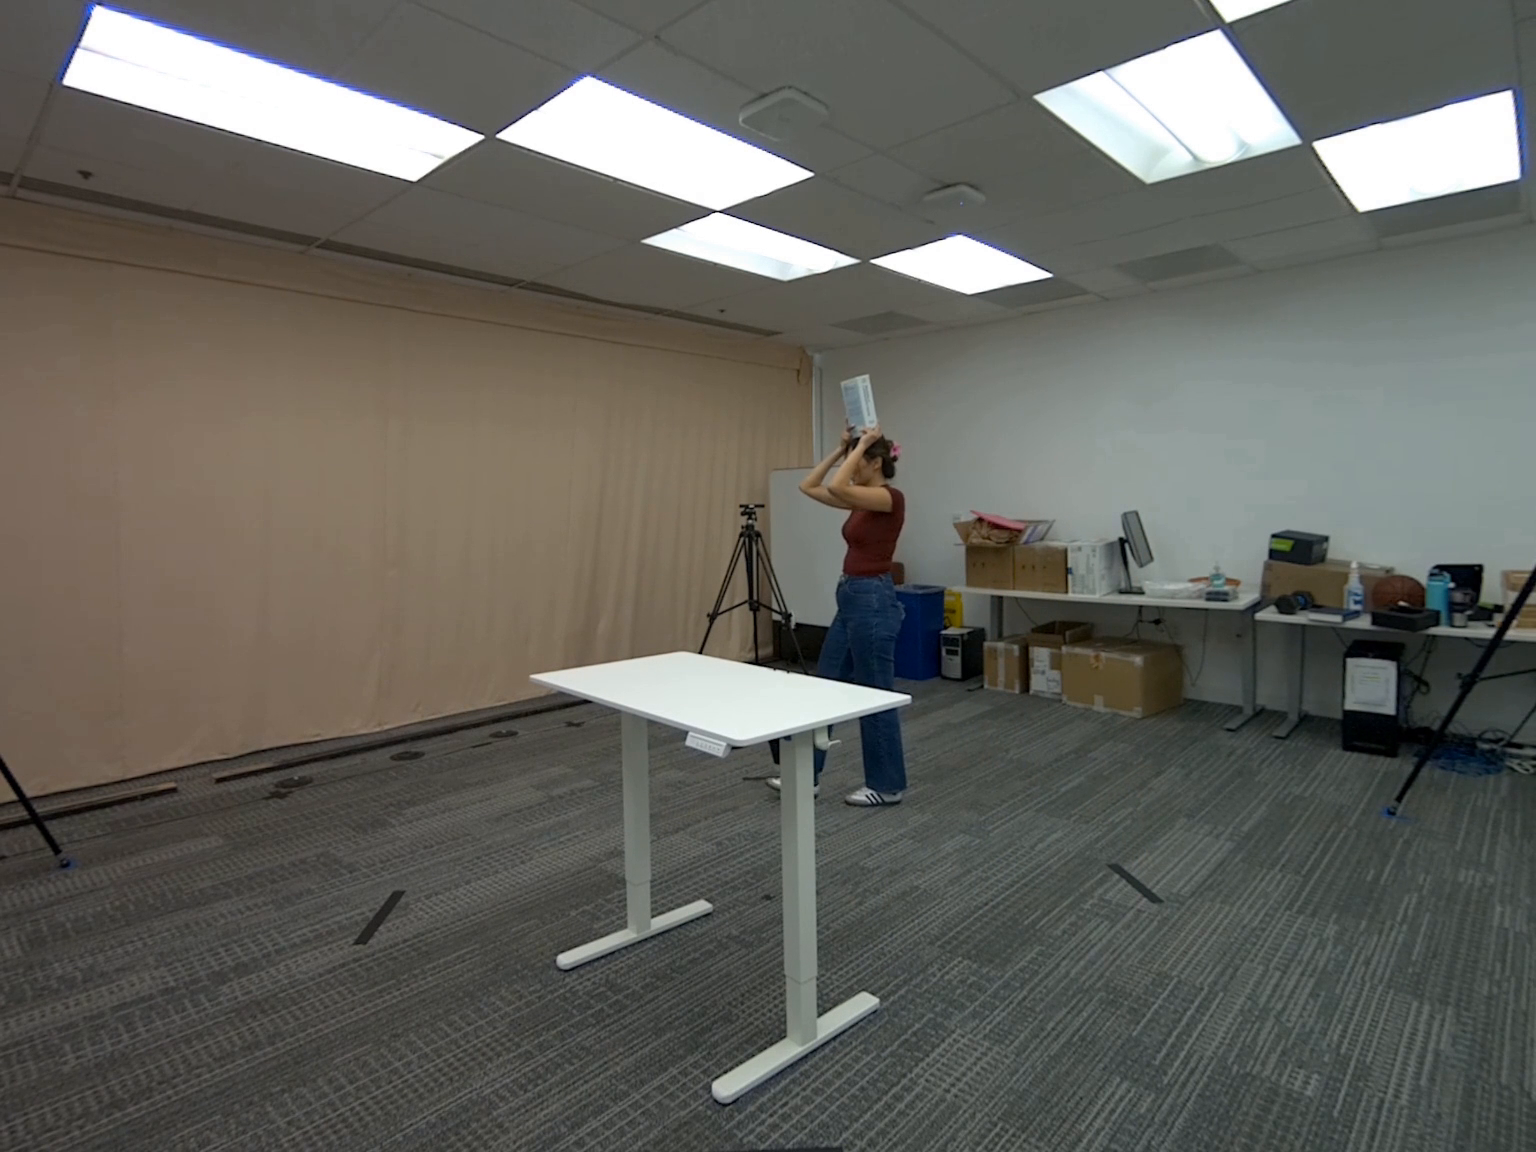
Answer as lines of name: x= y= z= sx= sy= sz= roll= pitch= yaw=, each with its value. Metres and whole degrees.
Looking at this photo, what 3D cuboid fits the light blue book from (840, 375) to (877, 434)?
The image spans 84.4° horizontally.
light blue book: x=0.410 y=-0.752 z=3.773 sx=0.058 sy=0.259 sz=0.195 roll=-12 pitch=8 yaw=-14
